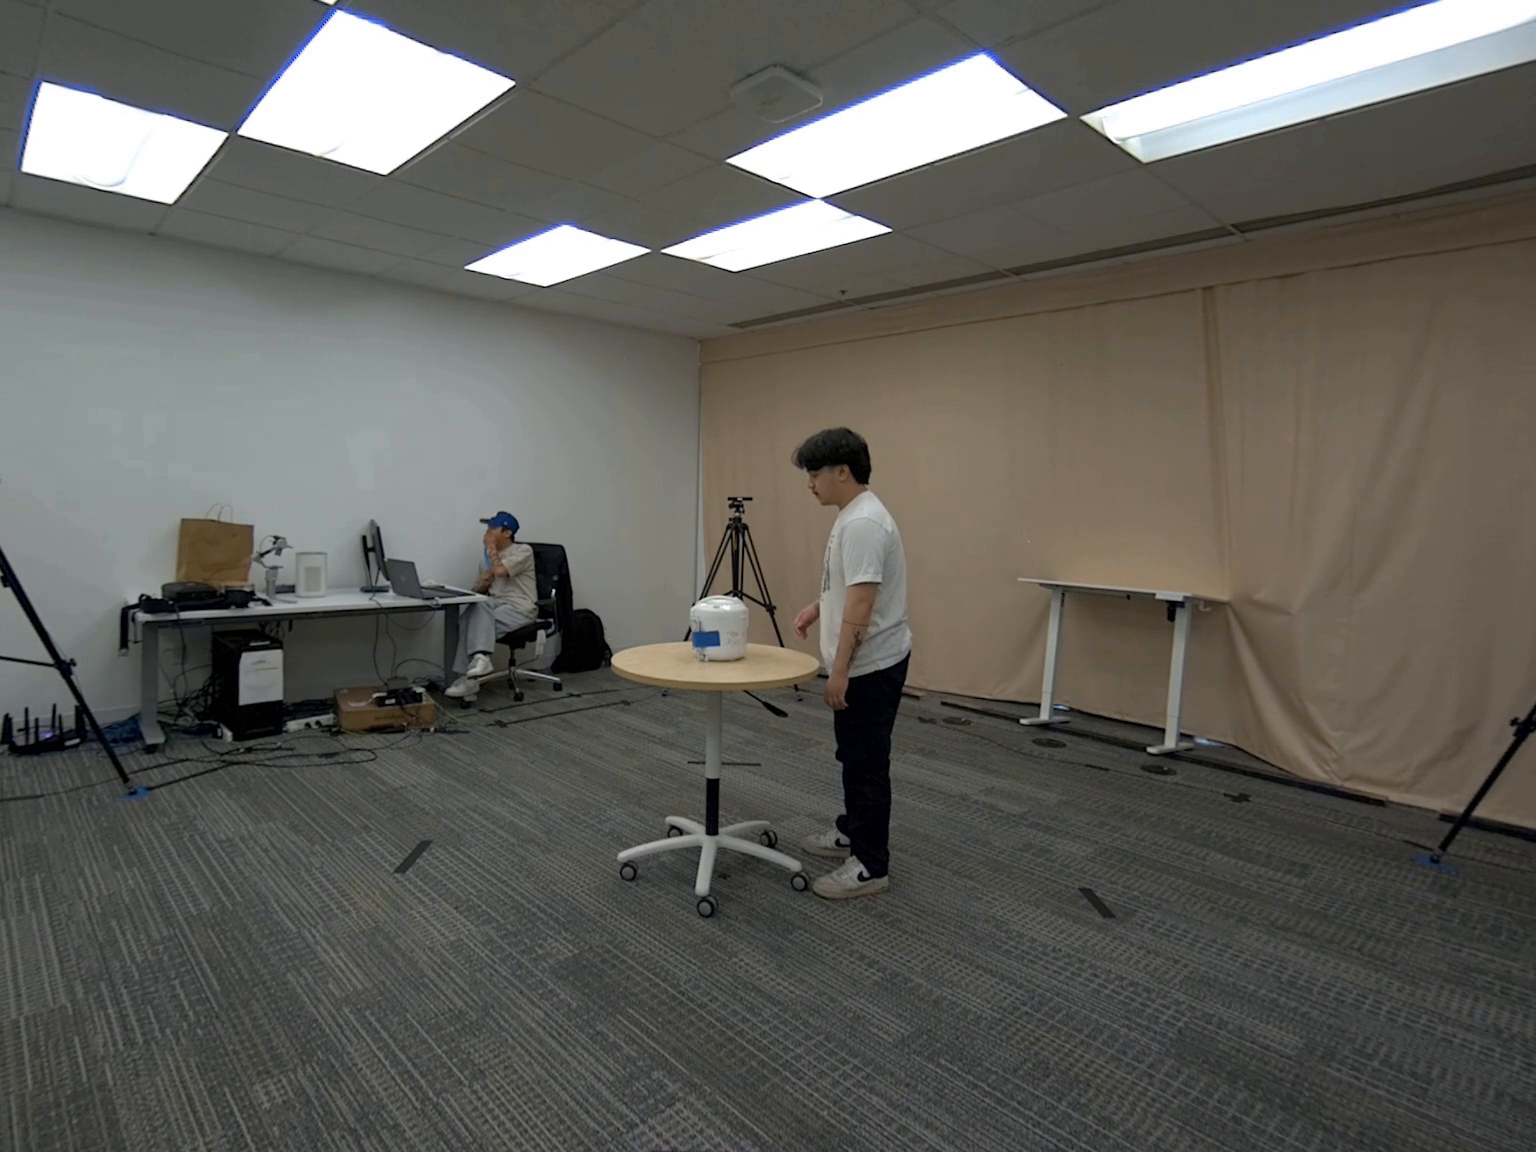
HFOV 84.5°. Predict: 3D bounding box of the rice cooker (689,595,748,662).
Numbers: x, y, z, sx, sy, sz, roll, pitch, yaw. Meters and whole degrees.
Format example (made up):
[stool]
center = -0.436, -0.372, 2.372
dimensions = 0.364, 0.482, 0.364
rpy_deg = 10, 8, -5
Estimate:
[rice cooker]
center = -0.189, 0.186, 3.148
dimensions = 0.220, 0.232, 0.219
rpy_deg = 2, 4, -5
